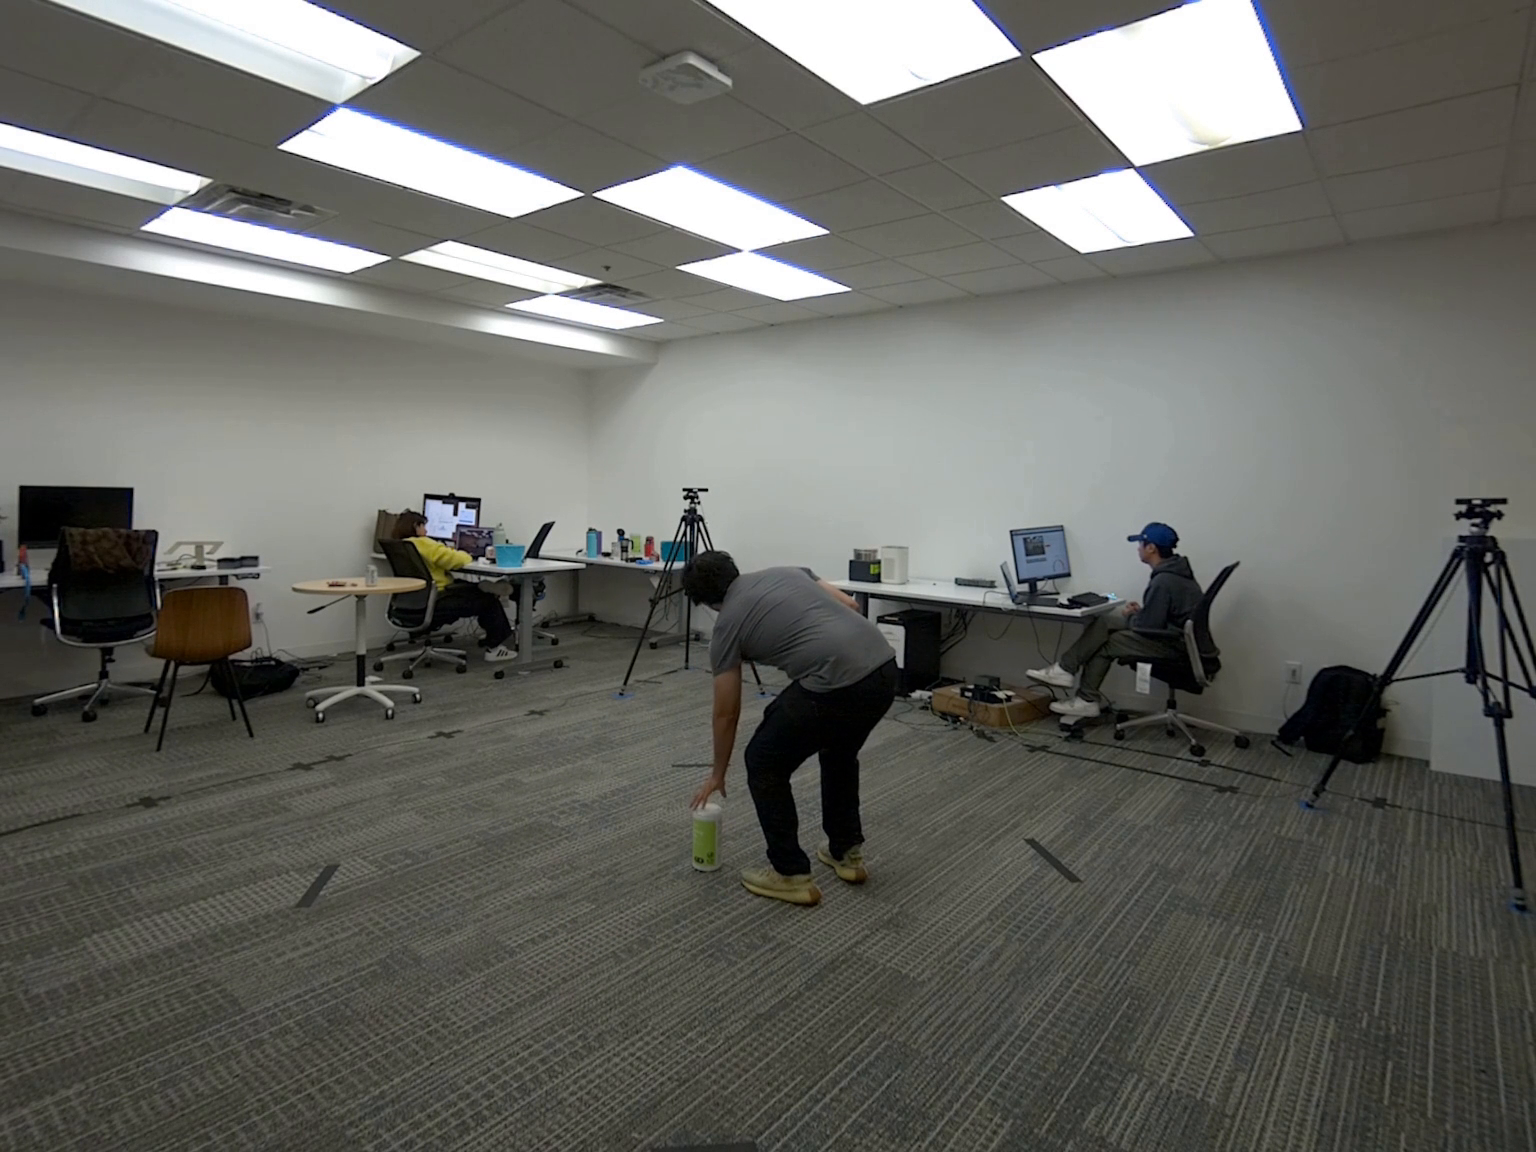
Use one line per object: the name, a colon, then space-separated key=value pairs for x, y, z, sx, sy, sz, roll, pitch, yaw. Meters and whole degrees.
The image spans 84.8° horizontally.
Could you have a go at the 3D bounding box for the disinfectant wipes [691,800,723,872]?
disinfectant wipes: x=-0.233 y=0.961 z=3.144 sx=0.118 sy=0.217 sz=0.118 roll=-1 pitch=4 yaw=-2
